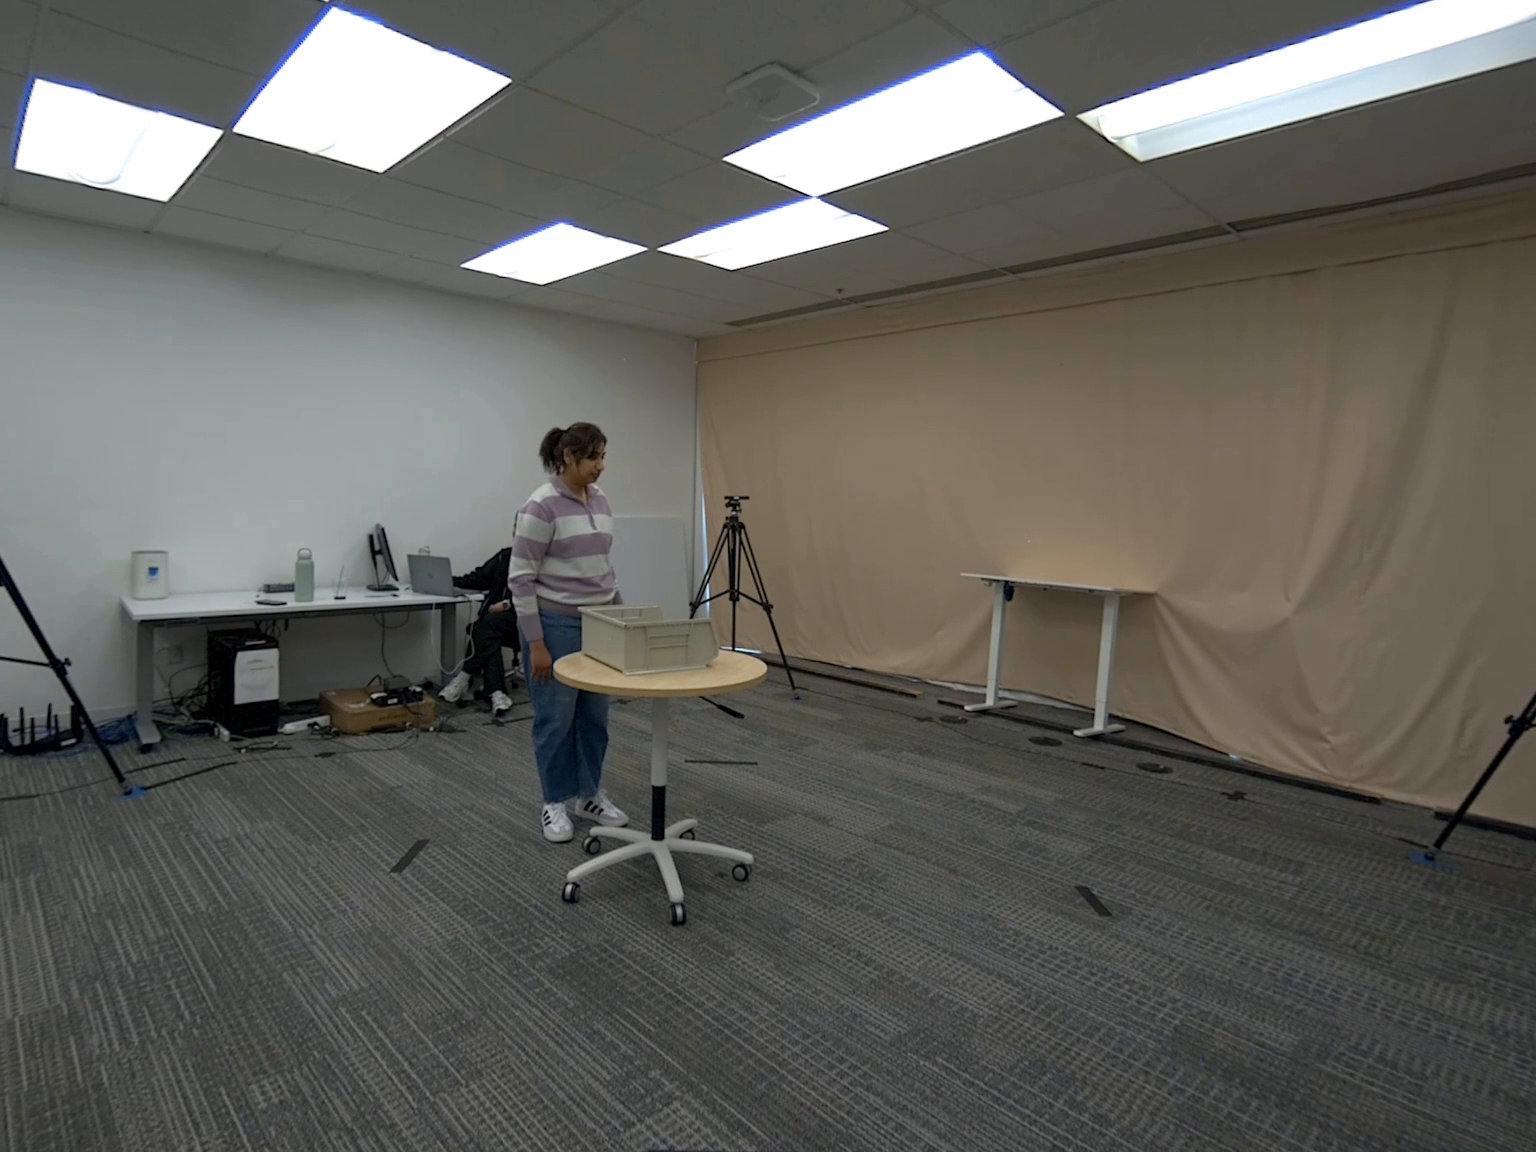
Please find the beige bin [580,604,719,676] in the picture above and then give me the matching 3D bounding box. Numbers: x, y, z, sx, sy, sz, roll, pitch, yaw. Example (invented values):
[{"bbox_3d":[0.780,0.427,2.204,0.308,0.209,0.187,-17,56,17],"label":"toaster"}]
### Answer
[{"bbox_3d":[-0.450,0.225,3.090,0.369,0.188,0.433,-3,7,-33],"label":"beige bin"}]
